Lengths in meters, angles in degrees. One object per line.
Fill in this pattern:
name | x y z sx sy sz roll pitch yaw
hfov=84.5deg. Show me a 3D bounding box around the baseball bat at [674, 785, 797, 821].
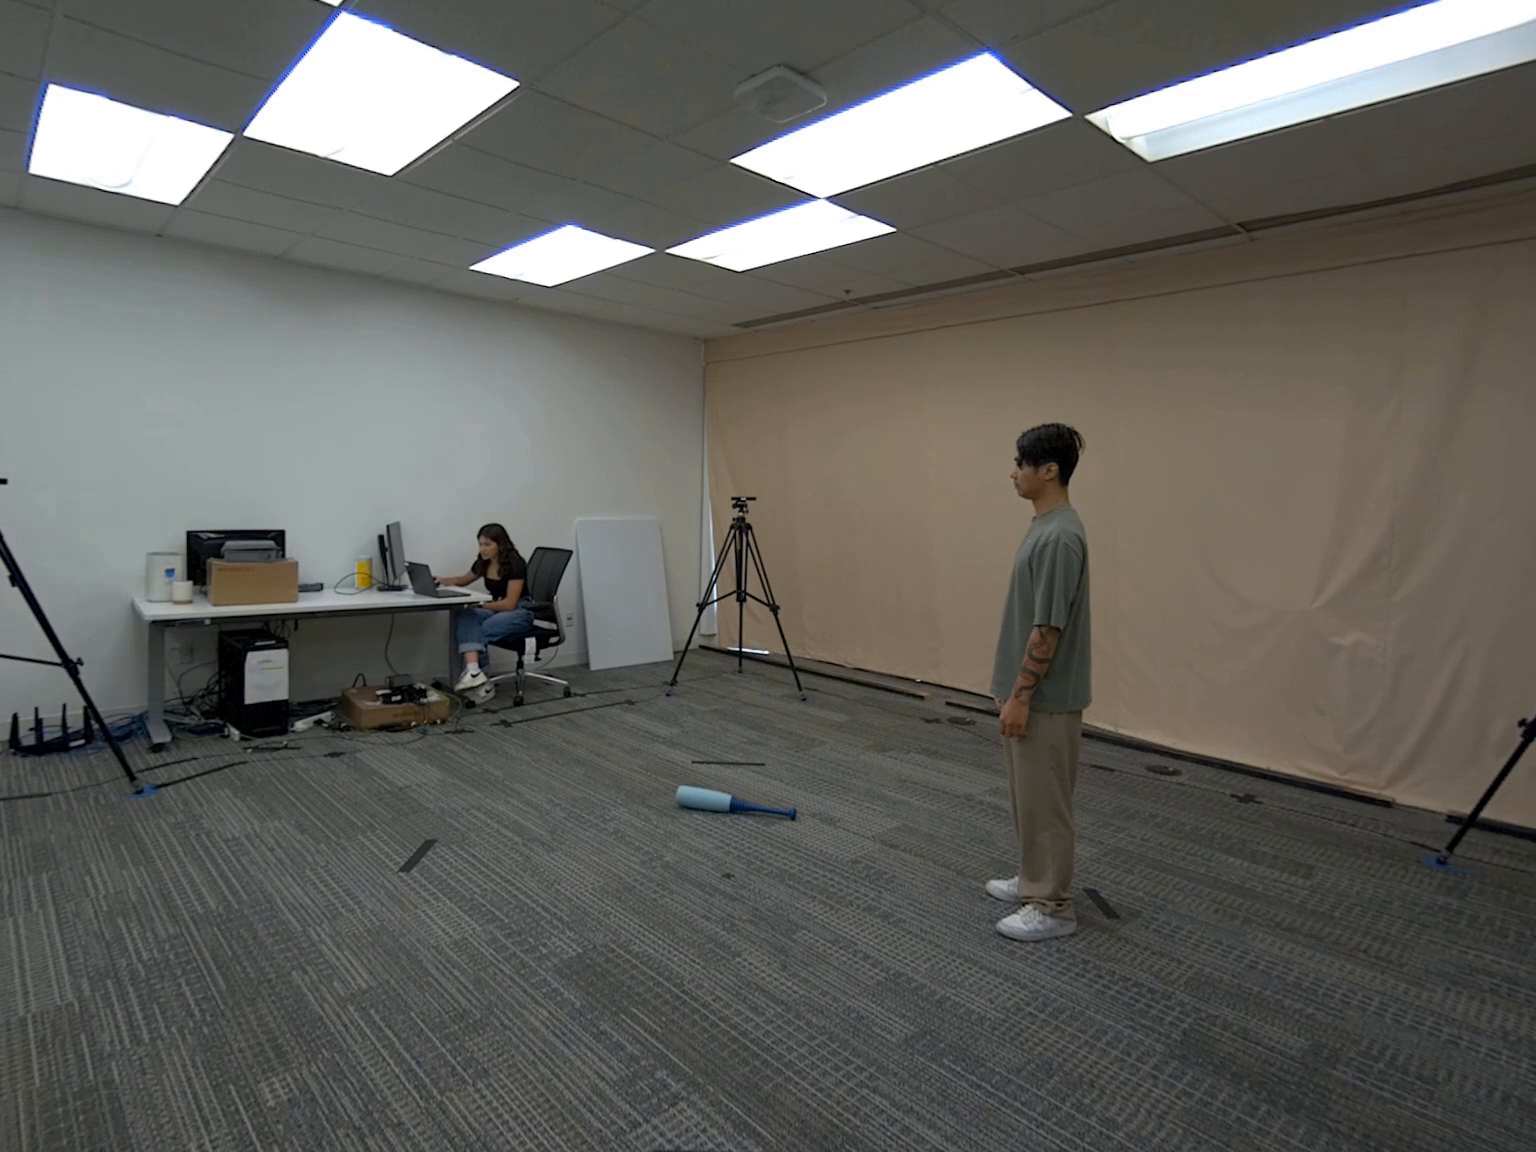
baseball bat | -0.153 1.013 3.738 0.549 0.089 0.088 5 5 12
